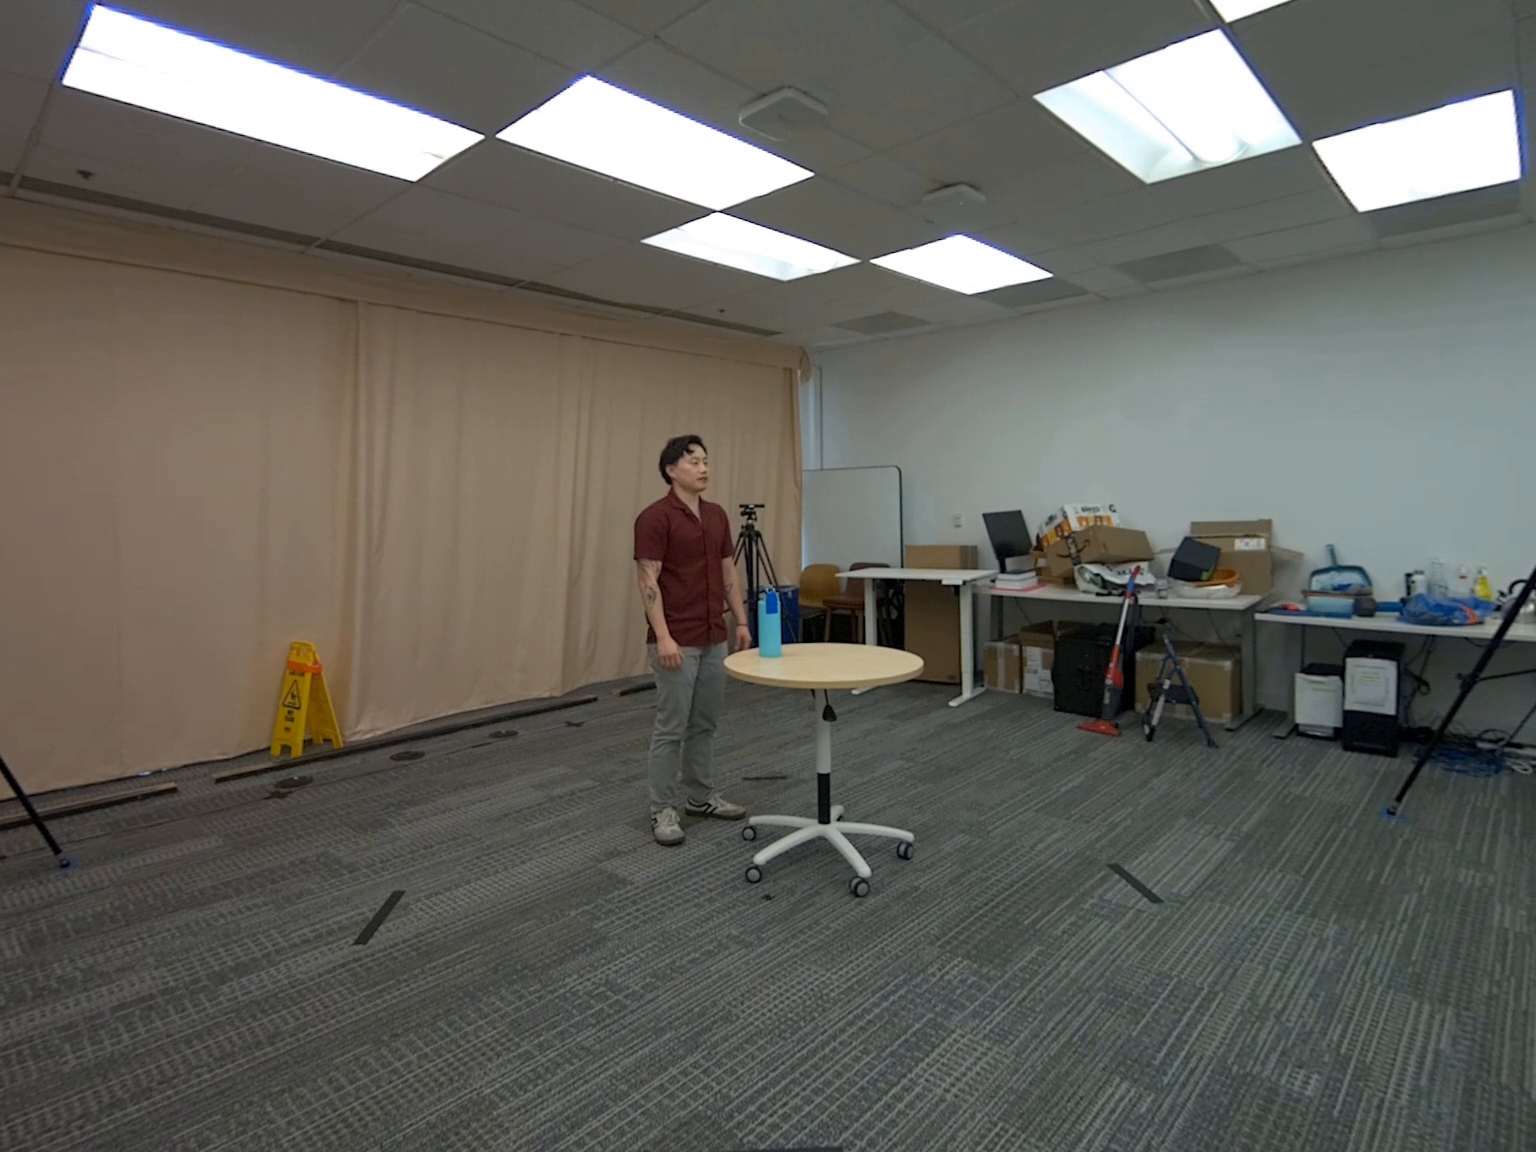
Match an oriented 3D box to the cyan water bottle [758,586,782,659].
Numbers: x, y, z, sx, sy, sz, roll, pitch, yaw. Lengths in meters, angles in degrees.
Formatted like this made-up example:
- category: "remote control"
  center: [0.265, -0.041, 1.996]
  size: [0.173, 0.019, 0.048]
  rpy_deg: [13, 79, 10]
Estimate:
- category: "cyan water bottle"
  center: [0.010, 0.181, 3.387]
  size: [0.092, 0.283, 0.092]
  rpy_deg: [0, 3, -2]
